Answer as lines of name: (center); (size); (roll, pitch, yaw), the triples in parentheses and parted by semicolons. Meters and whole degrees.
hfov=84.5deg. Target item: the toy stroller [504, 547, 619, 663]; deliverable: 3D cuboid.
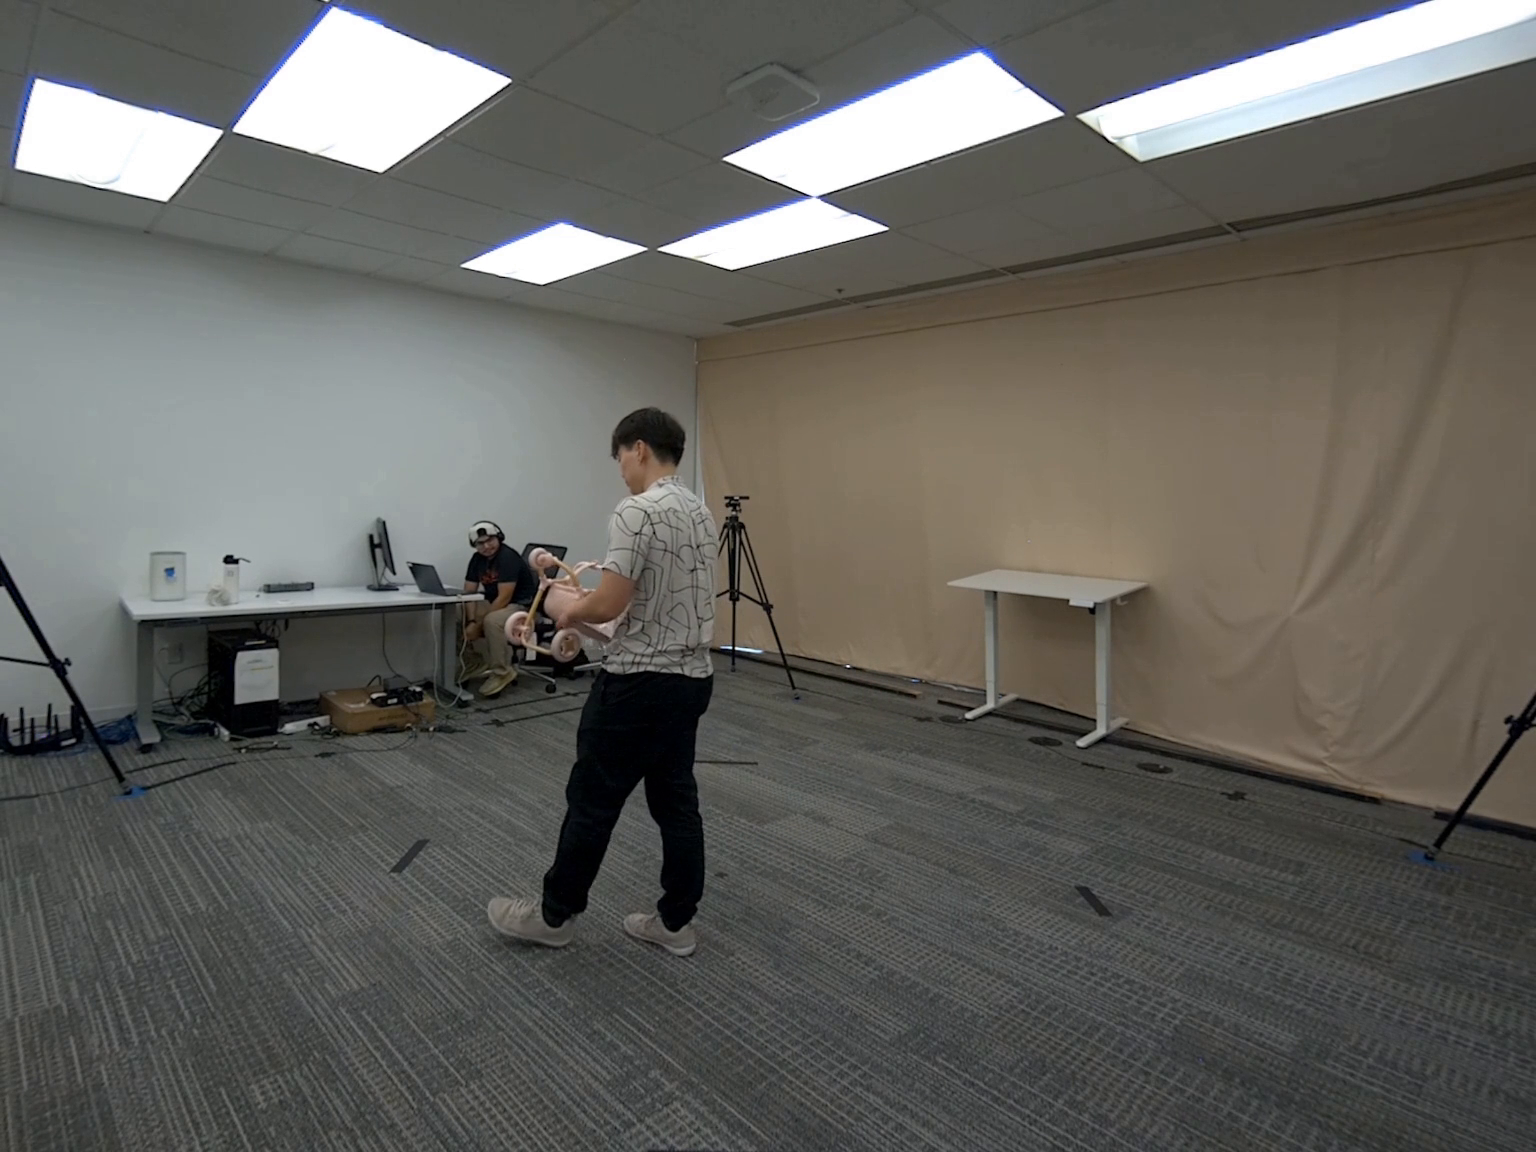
toy stroller: (-0.630, 0.120, 2.818); (0.288, 0.343, 0.519); (5, -8, 40)
